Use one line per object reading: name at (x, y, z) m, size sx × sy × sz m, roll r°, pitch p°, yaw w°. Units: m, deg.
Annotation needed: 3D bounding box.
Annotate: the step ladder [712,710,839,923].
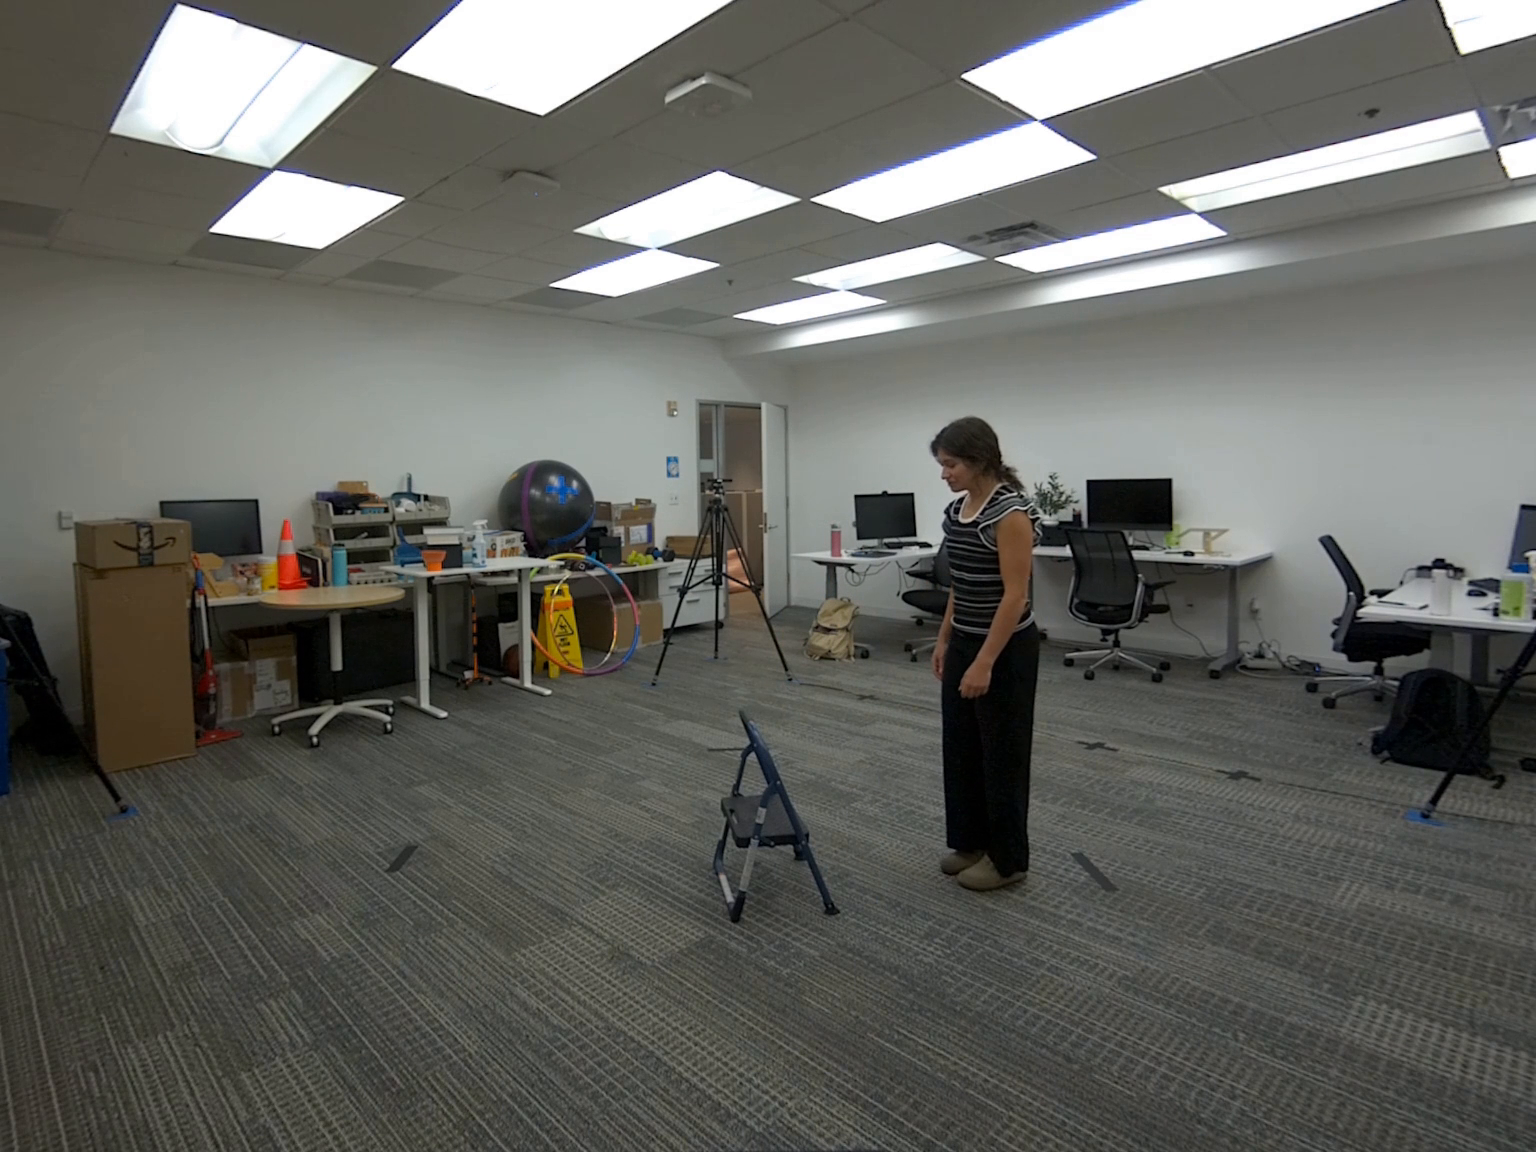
step ladder at (0.009, 0.767, 2.898) m, size 0.346 × 0.604 × 0.437 m, roll -1°, pitch 4°, yaw -11°
